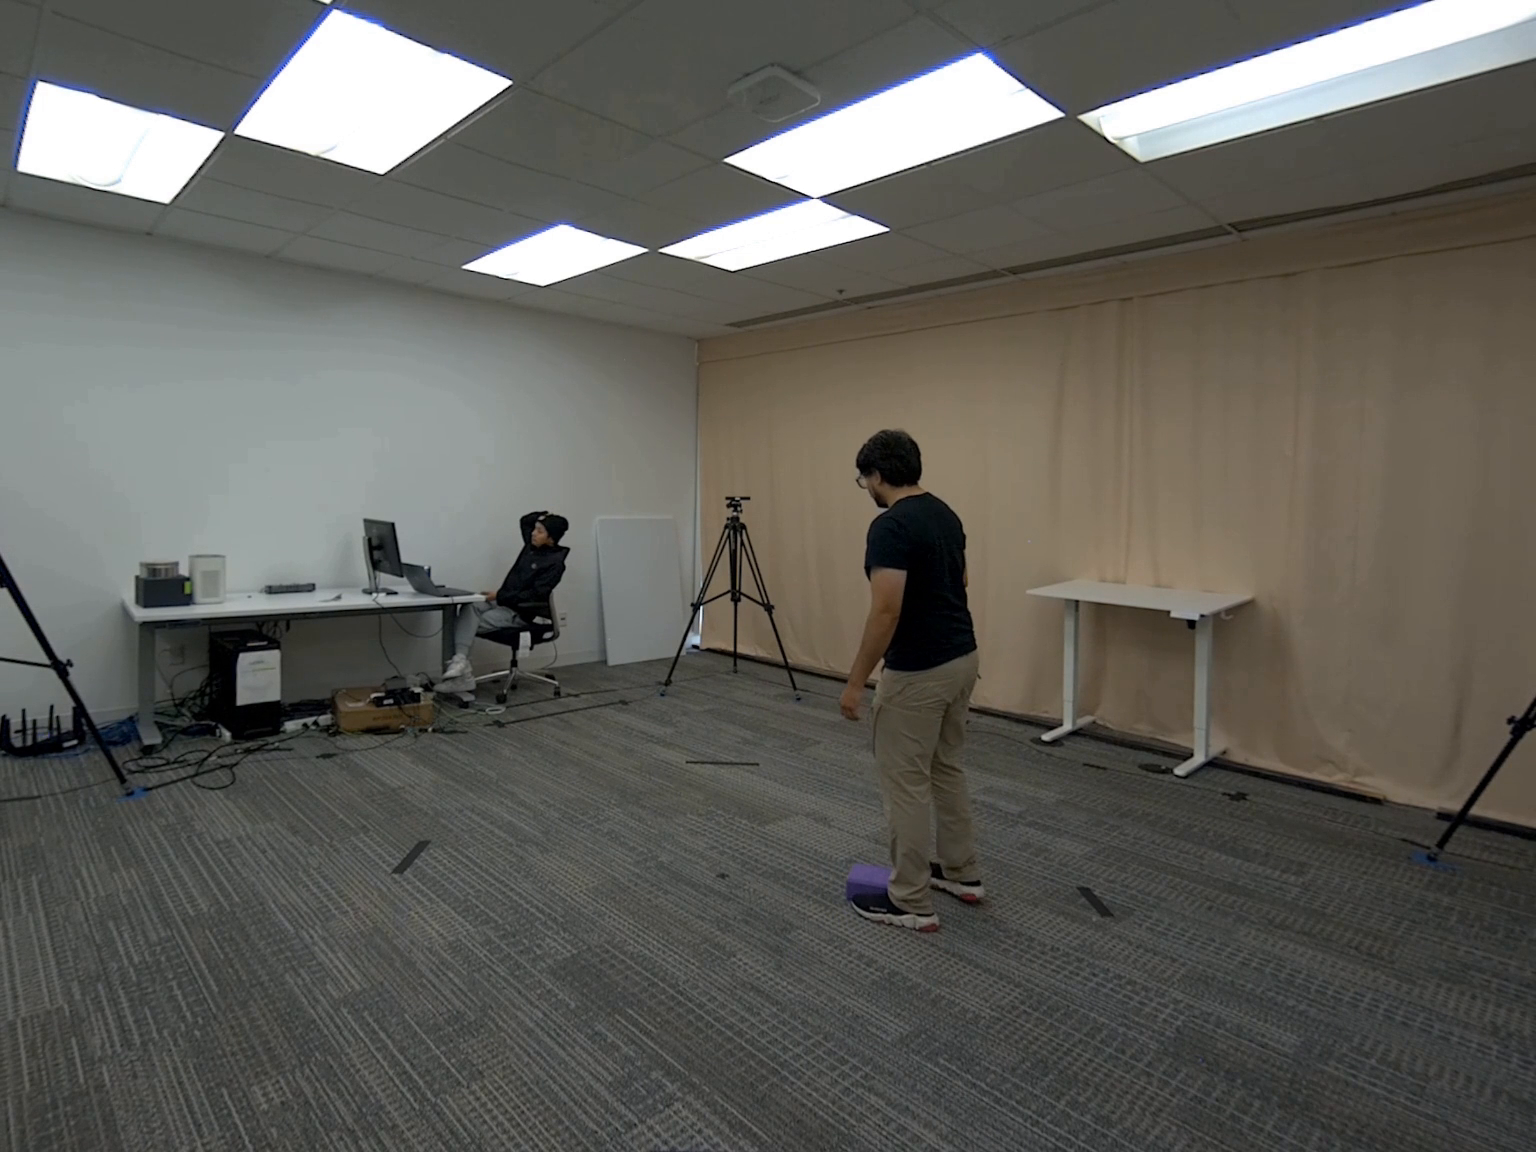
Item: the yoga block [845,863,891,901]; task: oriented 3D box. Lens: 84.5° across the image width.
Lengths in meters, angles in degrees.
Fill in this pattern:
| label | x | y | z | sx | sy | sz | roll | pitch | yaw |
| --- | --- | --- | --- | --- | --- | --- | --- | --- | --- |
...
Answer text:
| label | x | y | z | sx | sy | sz | roll | pitch | yaw |
| --- | --- | --- | --- | --- | --- | --- | --- | --- | --- |
| yoga block | 0.396 | 1.090 | 2.960 | 0.233 | 0.076 | 0.147 | 3 | 6 | 19 |
